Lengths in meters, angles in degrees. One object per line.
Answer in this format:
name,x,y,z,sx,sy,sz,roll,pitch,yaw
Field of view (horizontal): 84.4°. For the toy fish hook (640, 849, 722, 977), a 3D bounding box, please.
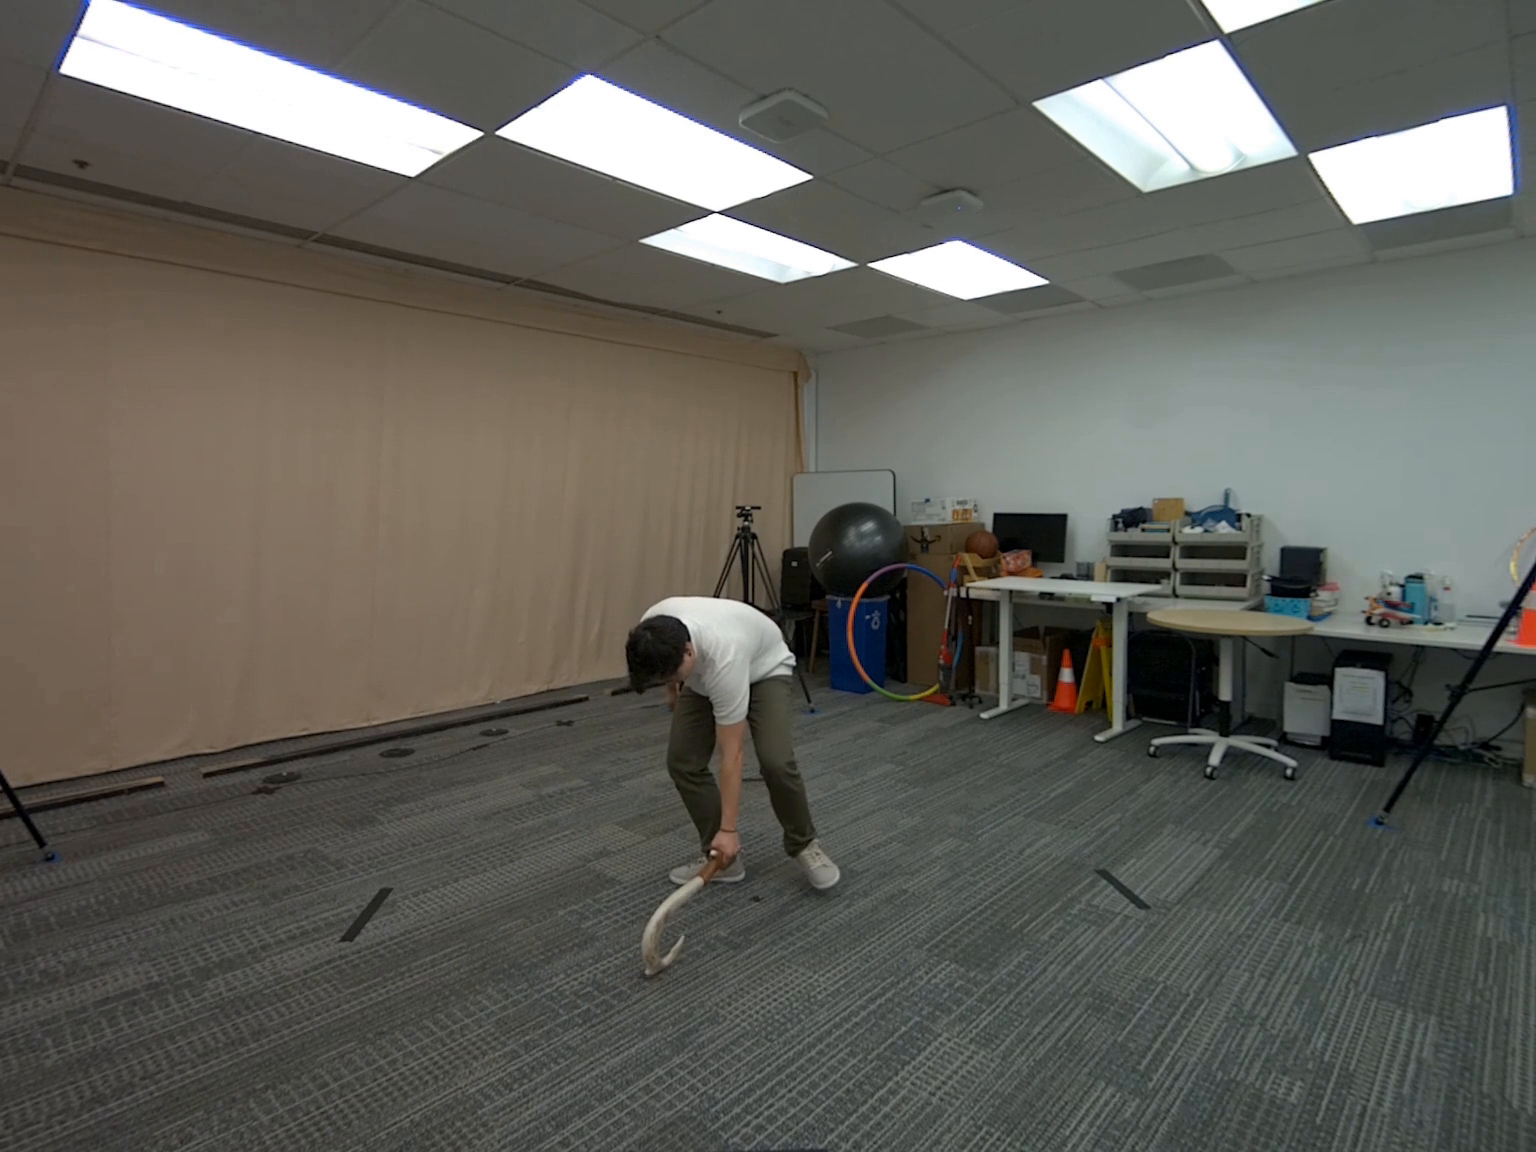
toy fish hook,-0.240,1.025,2.636,0.050,0.221,0.499,16,29,26
